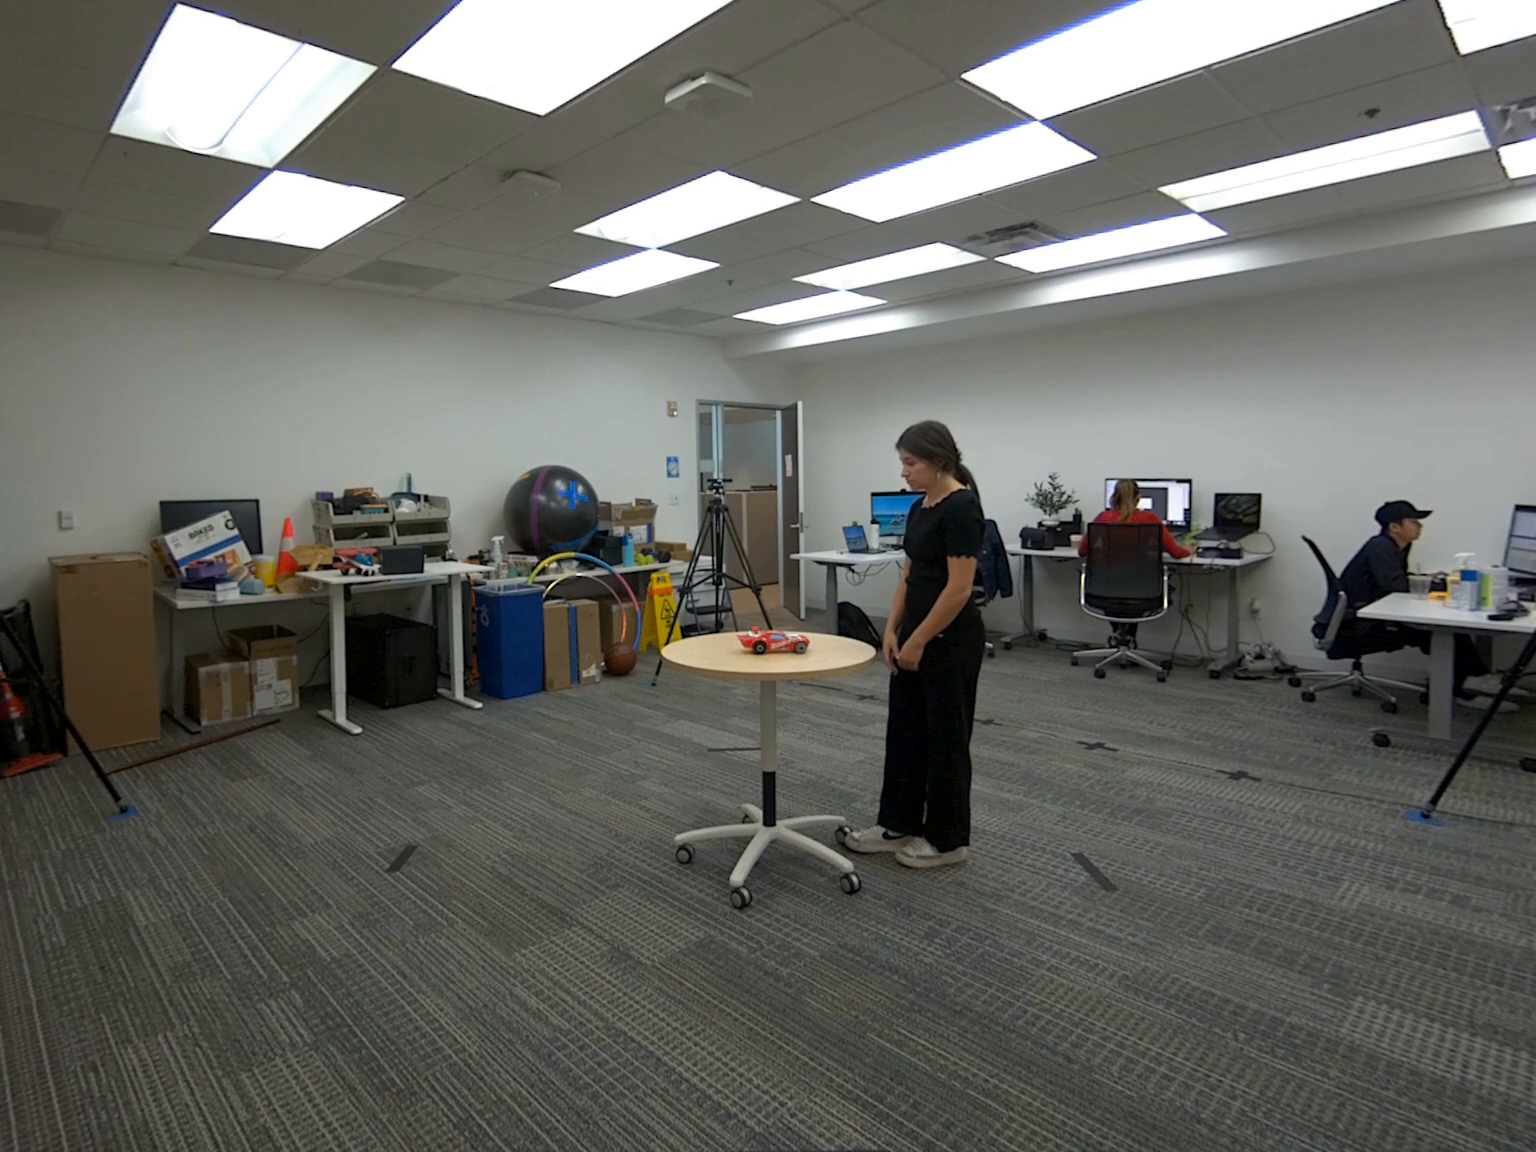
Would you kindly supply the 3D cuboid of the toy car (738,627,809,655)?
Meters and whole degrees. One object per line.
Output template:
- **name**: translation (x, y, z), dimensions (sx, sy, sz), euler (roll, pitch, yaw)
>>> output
- **toy car**: translation (0.018, 0.235, 3.025), dimensions (0.253, 0.083, 0.131), euler (11, 4, -4)
